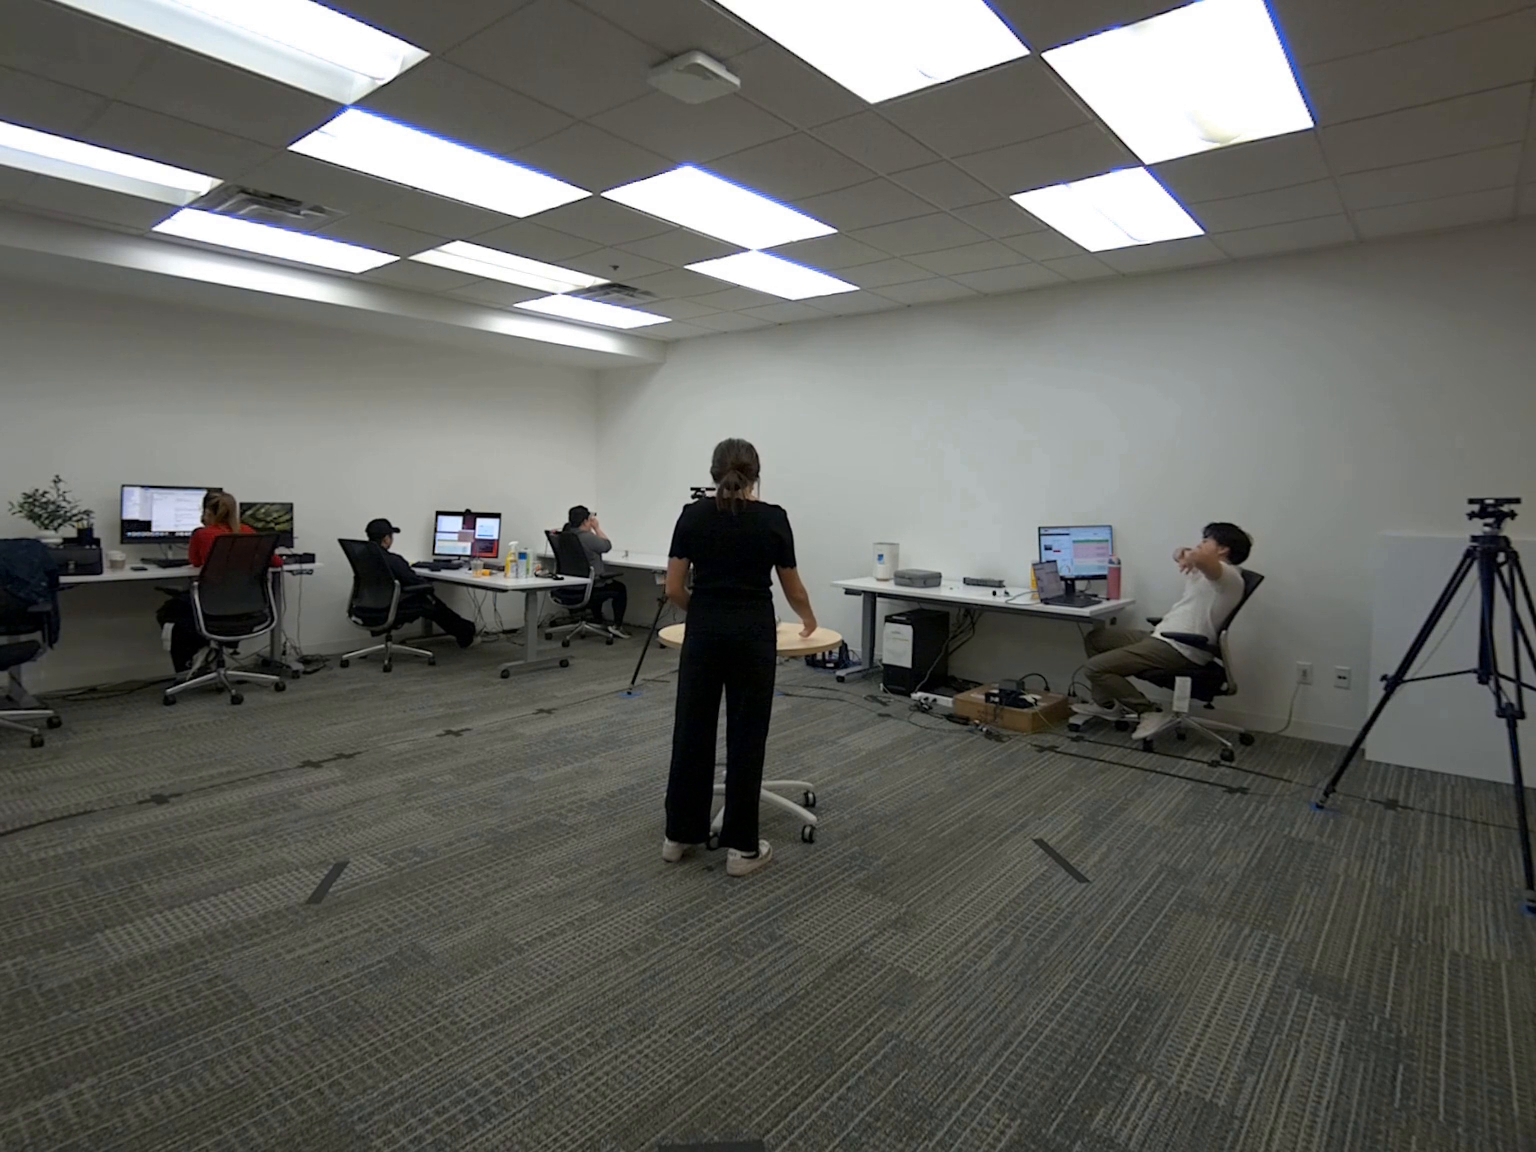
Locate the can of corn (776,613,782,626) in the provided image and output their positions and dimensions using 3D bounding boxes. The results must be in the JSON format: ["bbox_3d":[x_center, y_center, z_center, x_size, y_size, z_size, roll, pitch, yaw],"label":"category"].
[{"bbox_3d":[-0.002,0.194,3.626,0.074,0.074,0.111,1,6,2],"label":"can of corn"}]
